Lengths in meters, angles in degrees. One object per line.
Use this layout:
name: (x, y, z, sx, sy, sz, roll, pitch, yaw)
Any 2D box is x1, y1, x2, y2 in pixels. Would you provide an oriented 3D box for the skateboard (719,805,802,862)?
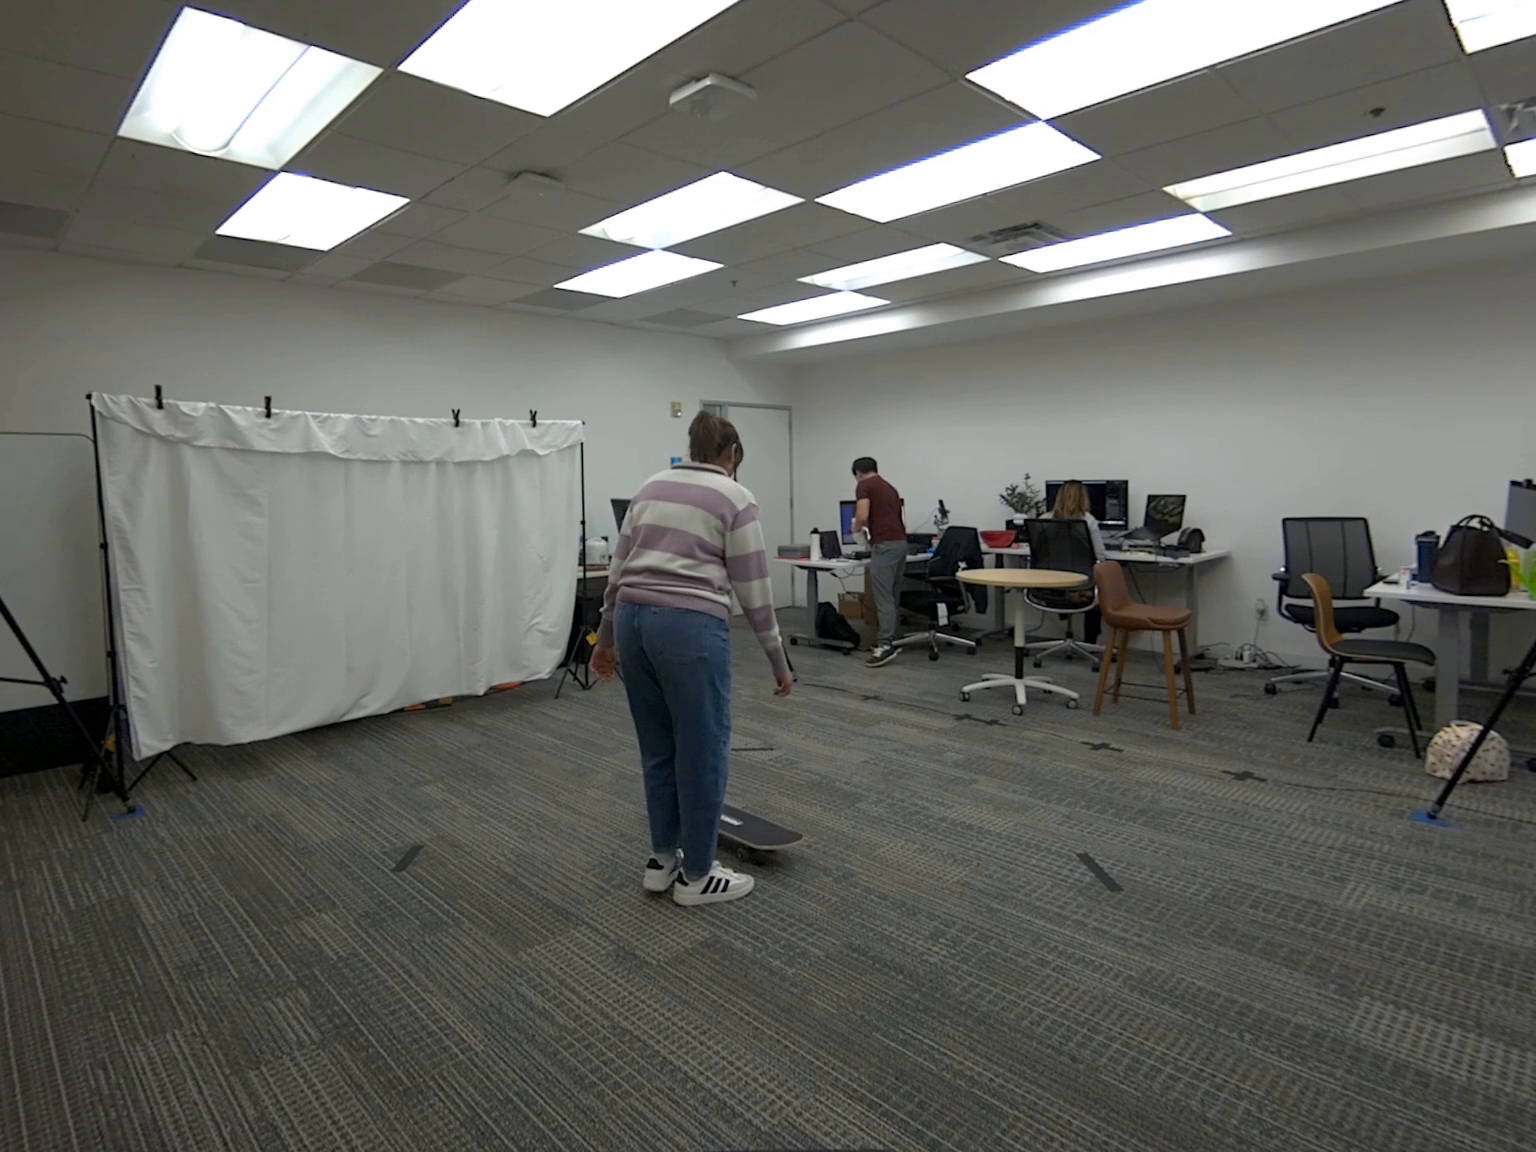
skateboard: (-0.175, 0.968, 3.322, 0.188, 0.110, 0.810, -7, 8, -44)
